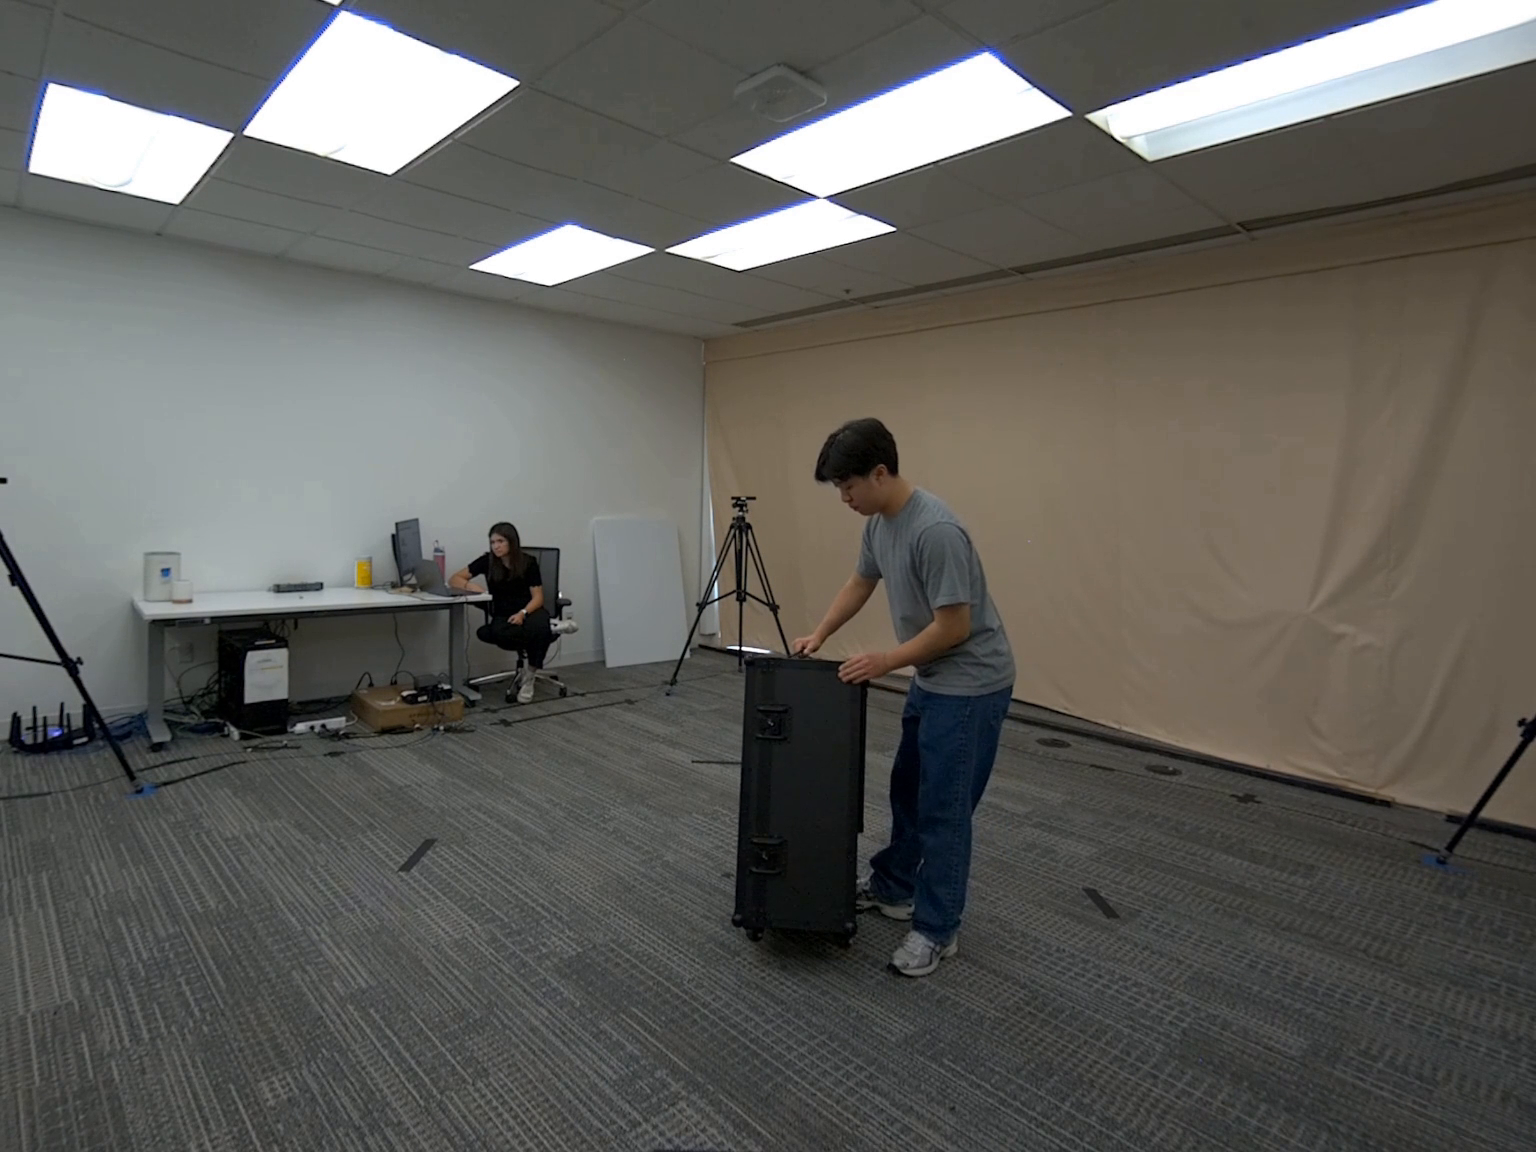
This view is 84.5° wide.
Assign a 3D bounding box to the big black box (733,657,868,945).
[{"bbox_3d":[0.118,0.704,2.728,0.398,0.867,0.516,3,-9,4],"label":"big black box"}]
